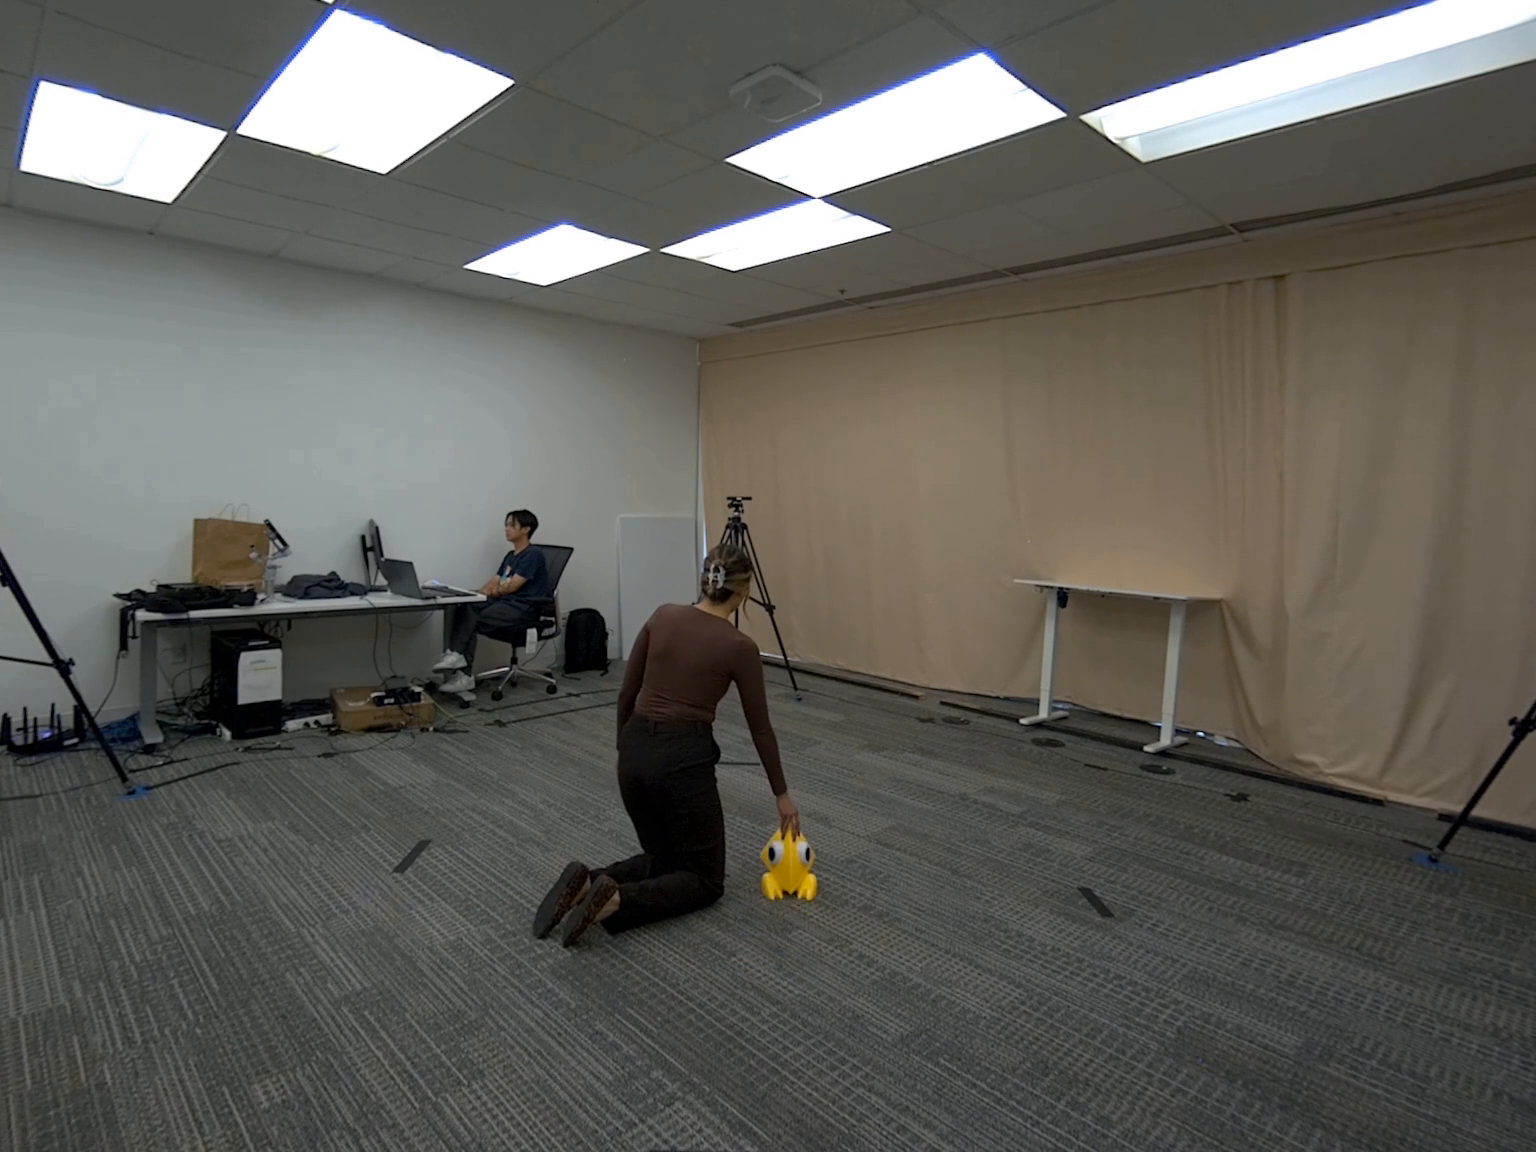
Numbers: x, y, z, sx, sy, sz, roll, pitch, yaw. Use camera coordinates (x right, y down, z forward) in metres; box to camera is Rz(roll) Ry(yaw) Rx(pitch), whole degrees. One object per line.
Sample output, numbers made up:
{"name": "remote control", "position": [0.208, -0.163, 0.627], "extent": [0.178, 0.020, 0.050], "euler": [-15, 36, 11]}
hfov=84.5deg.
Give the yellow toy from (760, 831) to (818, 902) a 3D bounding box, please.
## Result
{"name": "yellow toy", "position": [0.063, 1.006, 3.007], "extent": [0.205, 0.230, 0.193], "euler": [0, 2, -1]}
